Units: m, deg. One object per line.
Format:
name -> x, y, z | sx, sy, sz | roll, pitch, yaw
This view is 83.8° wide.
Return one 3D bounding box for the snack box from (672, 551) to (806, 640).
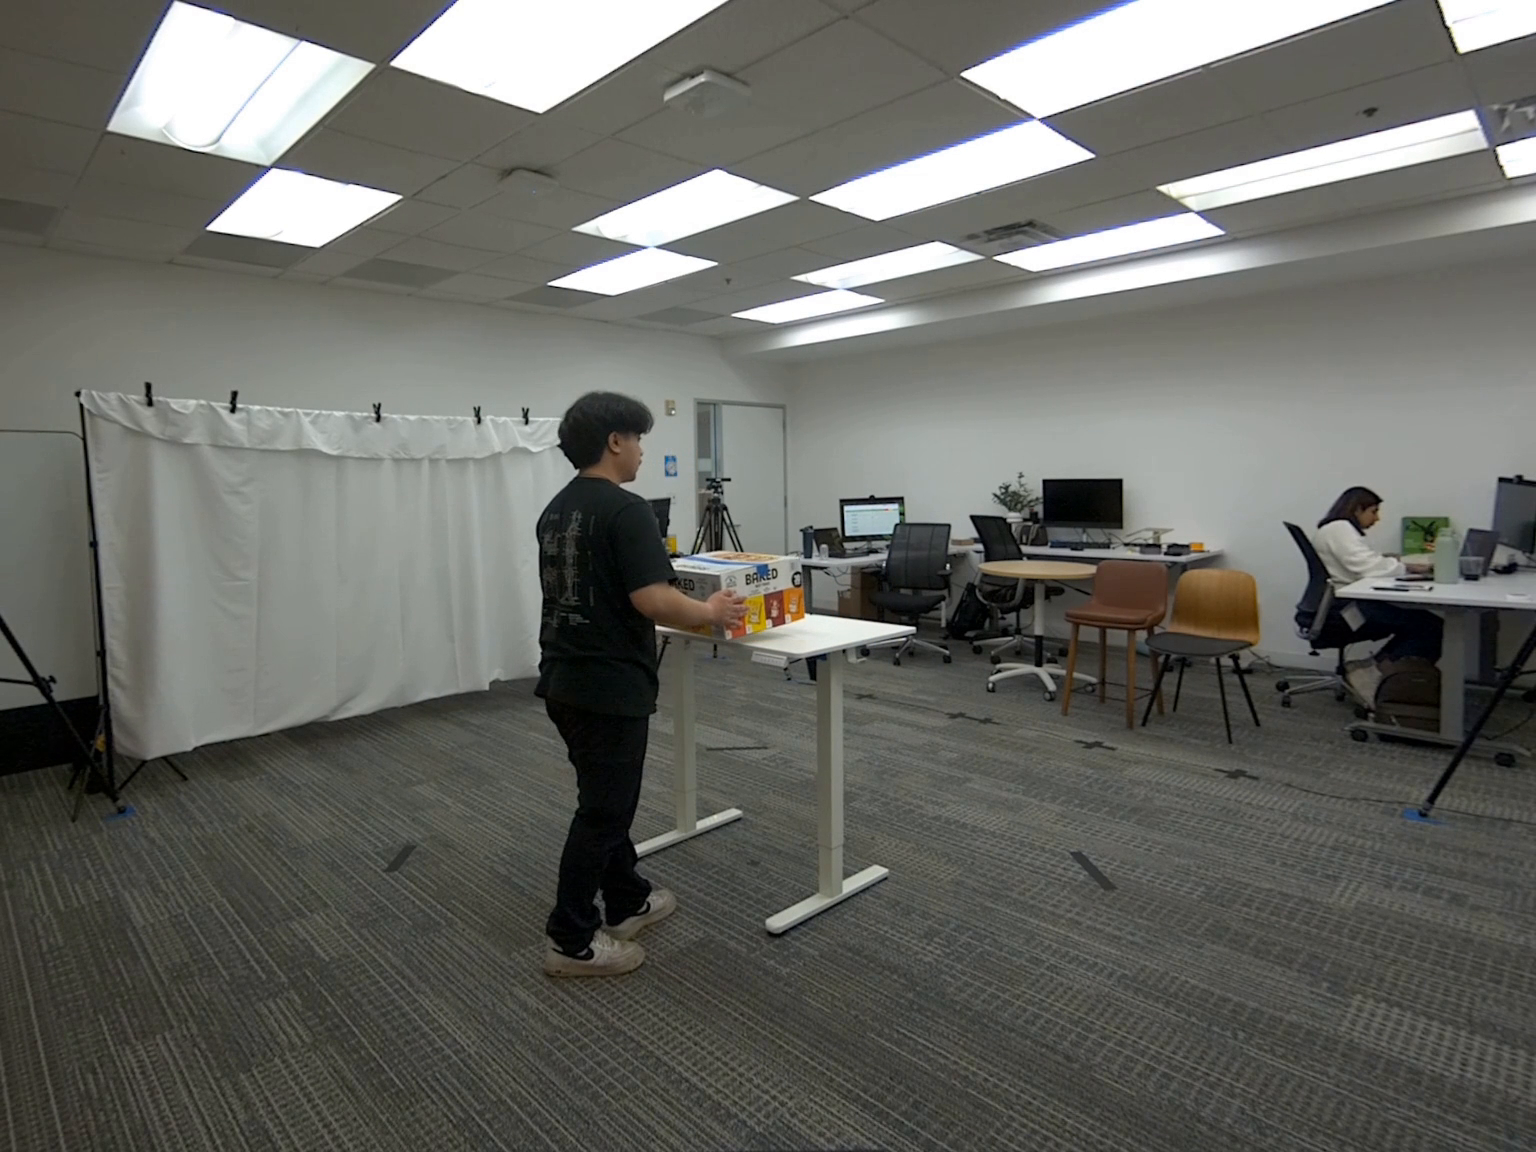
snack box -> -0.148, 0.052, 2.800 | 0.332, 0.204, 0.418 | -11, 11, -41
